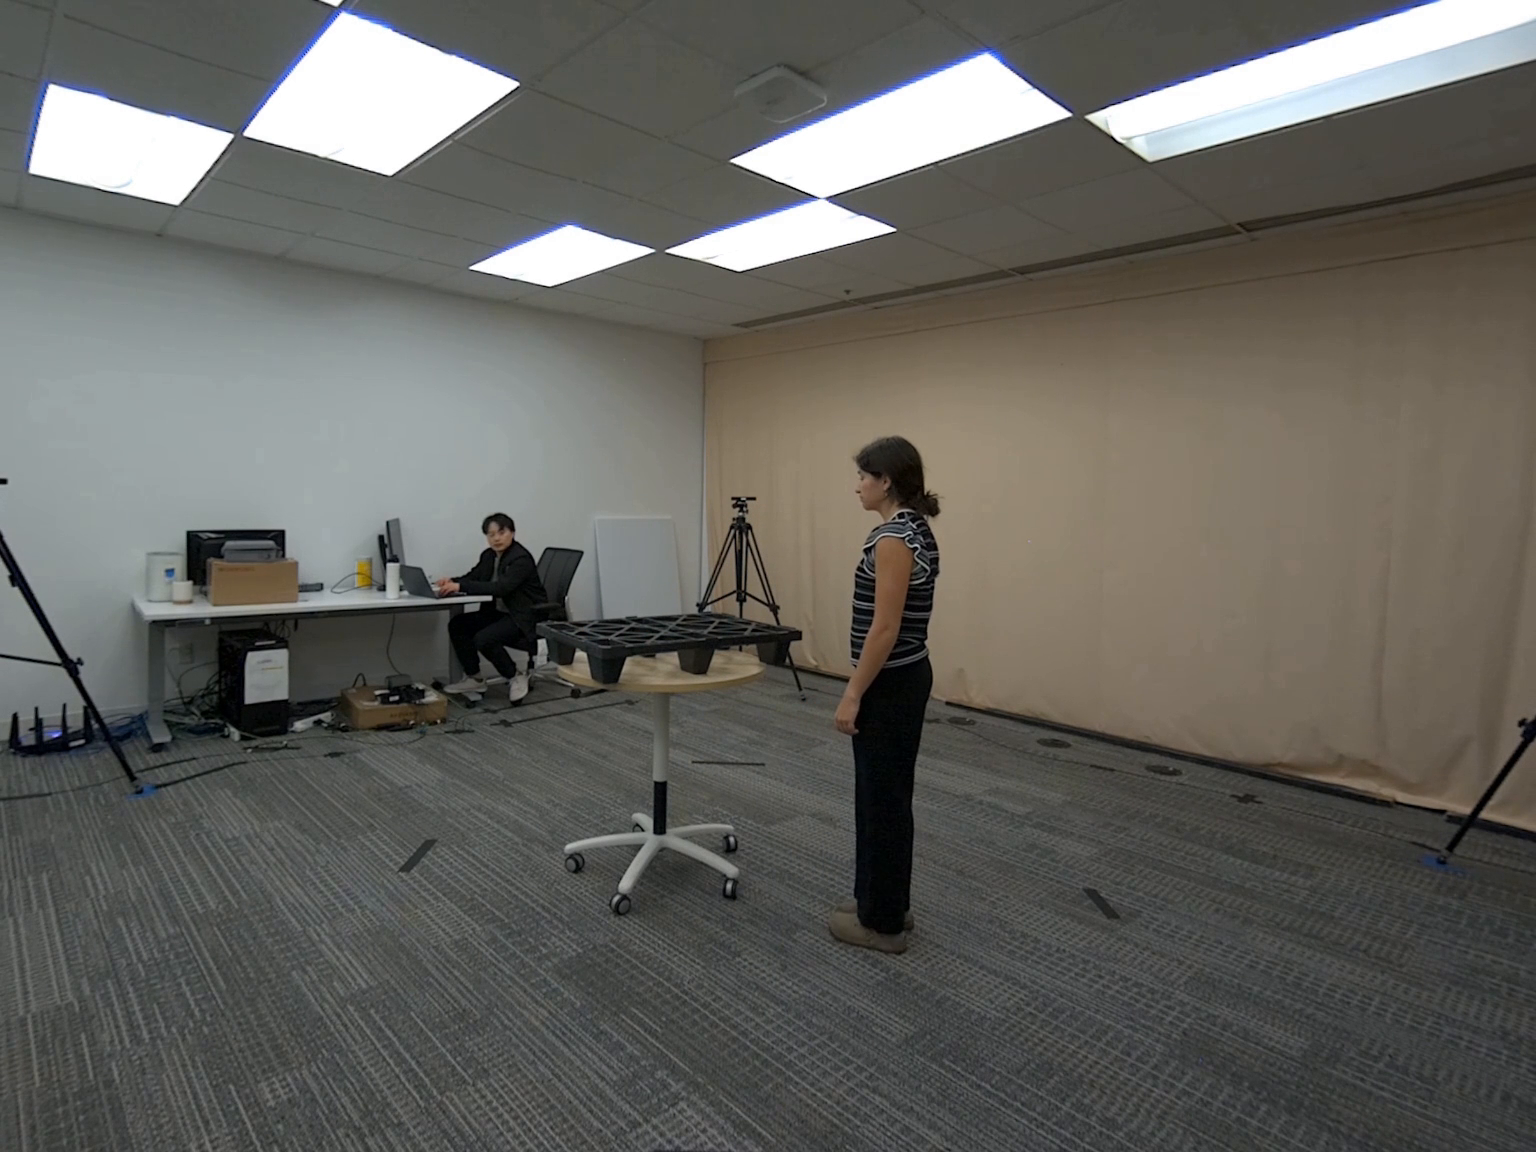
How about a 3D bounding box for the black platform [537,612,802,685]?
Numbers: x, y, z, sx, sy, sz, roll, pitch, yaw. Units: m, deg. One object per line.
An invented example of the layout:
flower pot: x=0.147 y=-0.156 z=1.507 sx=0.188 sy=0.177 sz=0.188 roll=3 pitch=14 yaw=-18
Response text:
black platform: x=-0.377 y=0.257 z=3.083 sx=0.788 sy=0.143 sz=0.620 roll=-2 pitch=5 yaw=-35
